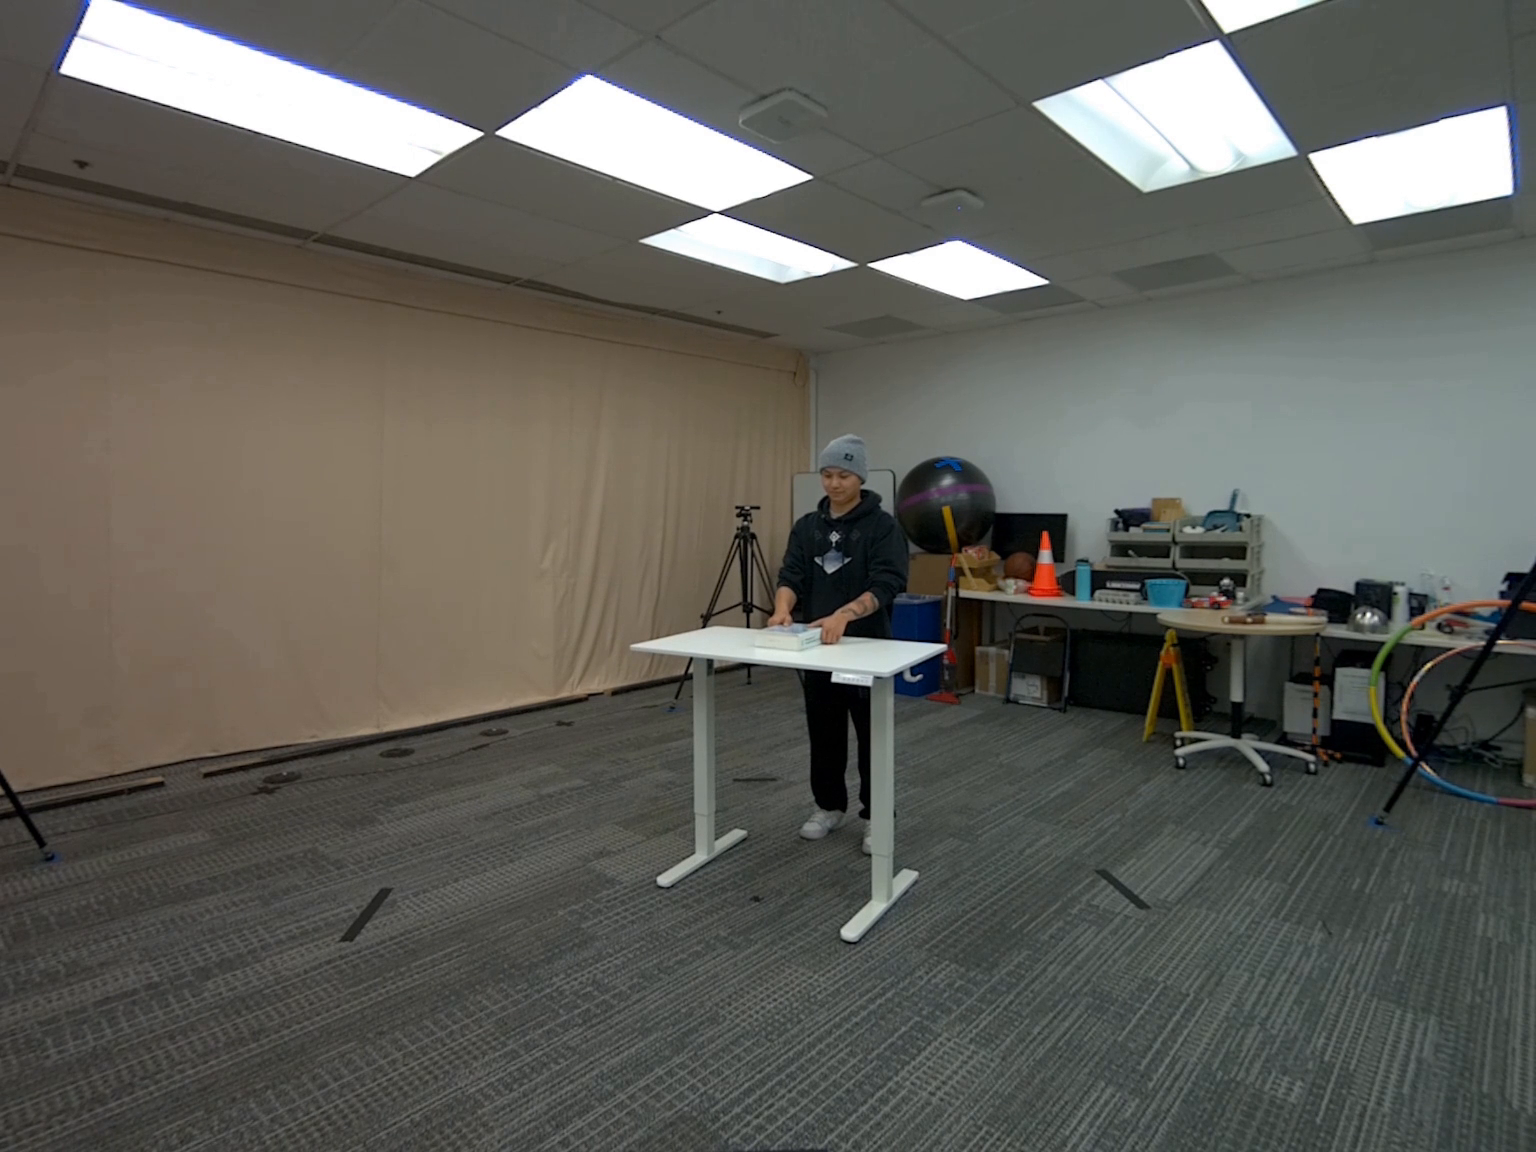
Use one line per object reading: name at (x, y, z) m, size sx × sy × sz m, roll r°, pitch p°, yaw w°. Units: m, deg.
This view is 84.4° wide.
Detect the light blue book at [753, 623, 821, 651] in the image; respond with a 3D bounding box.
light blue book at (0.091, 0.230, 3.106) m, size 0.197 × 0.059 × 0.254 m, roll 3°, pitch 5°, yaw 32°
